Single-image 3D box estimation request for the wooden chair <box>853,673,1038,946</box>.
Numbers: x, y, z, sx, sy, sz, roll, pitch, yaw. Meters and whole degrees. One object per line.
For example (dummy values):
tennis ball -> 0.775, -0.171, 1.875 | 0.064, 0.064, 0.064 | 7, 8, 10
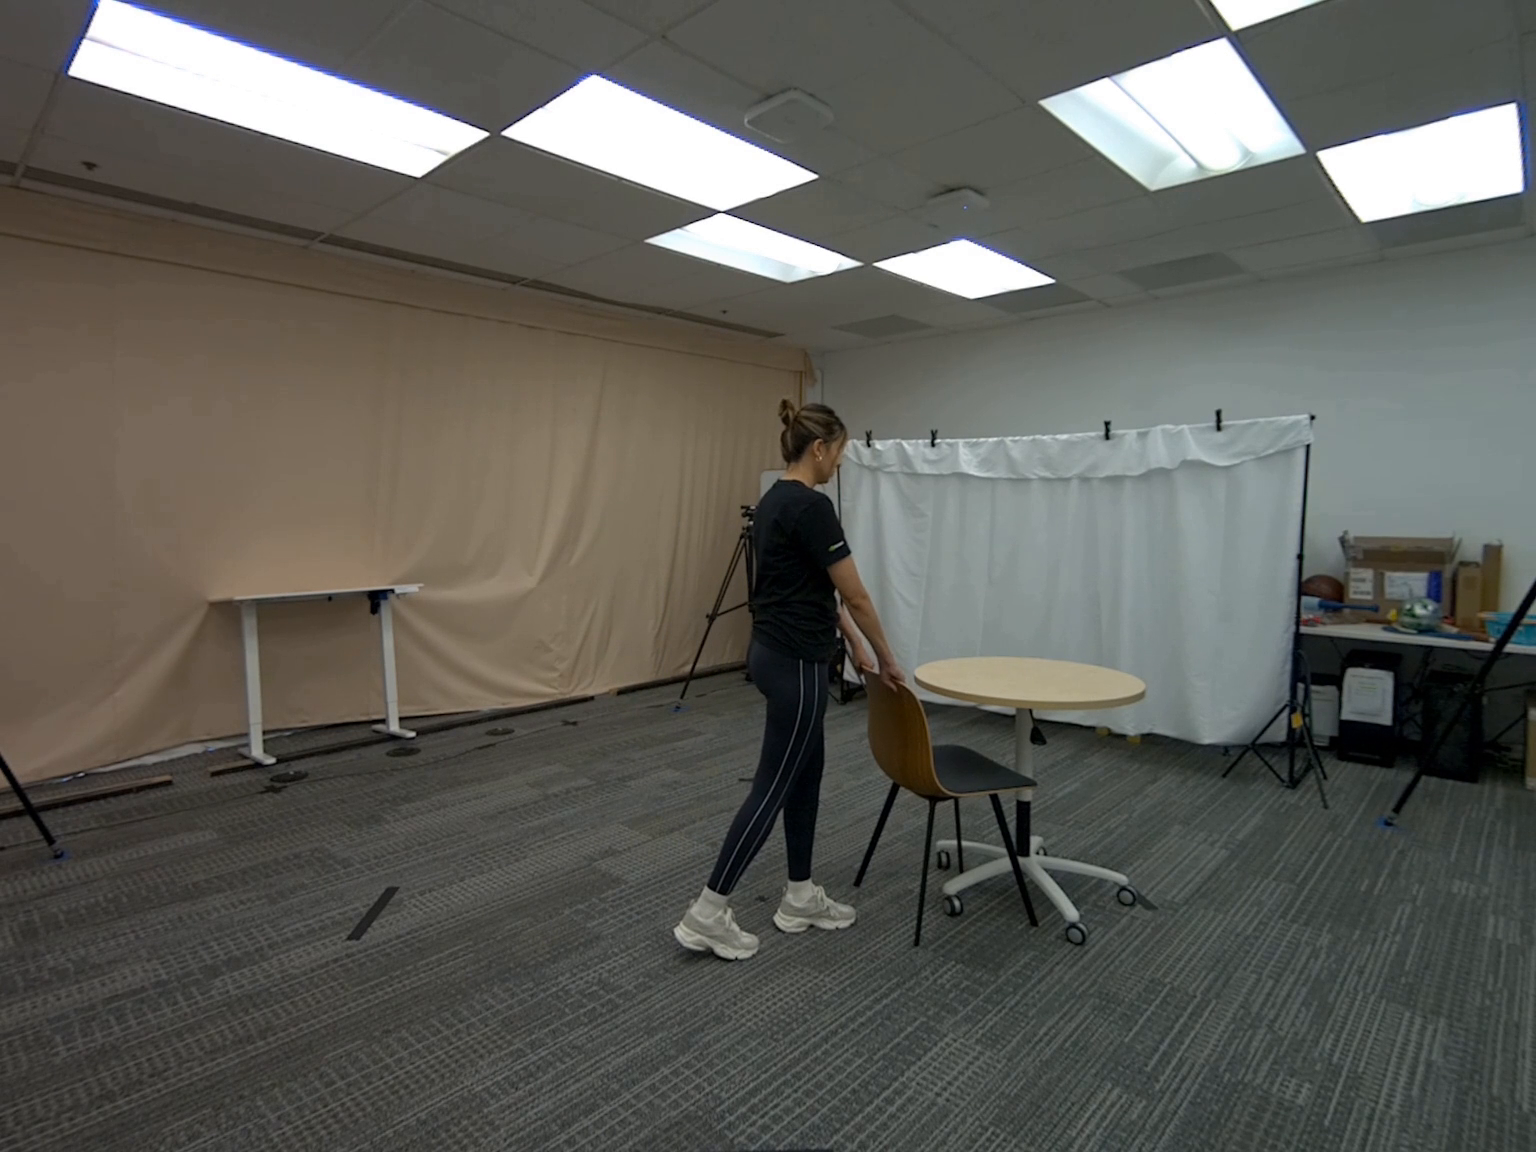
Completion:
wooden chair -> 0.610, 0.721, 2.902 | 0.514, 0.875, 0.488 | -5, 5, -18
